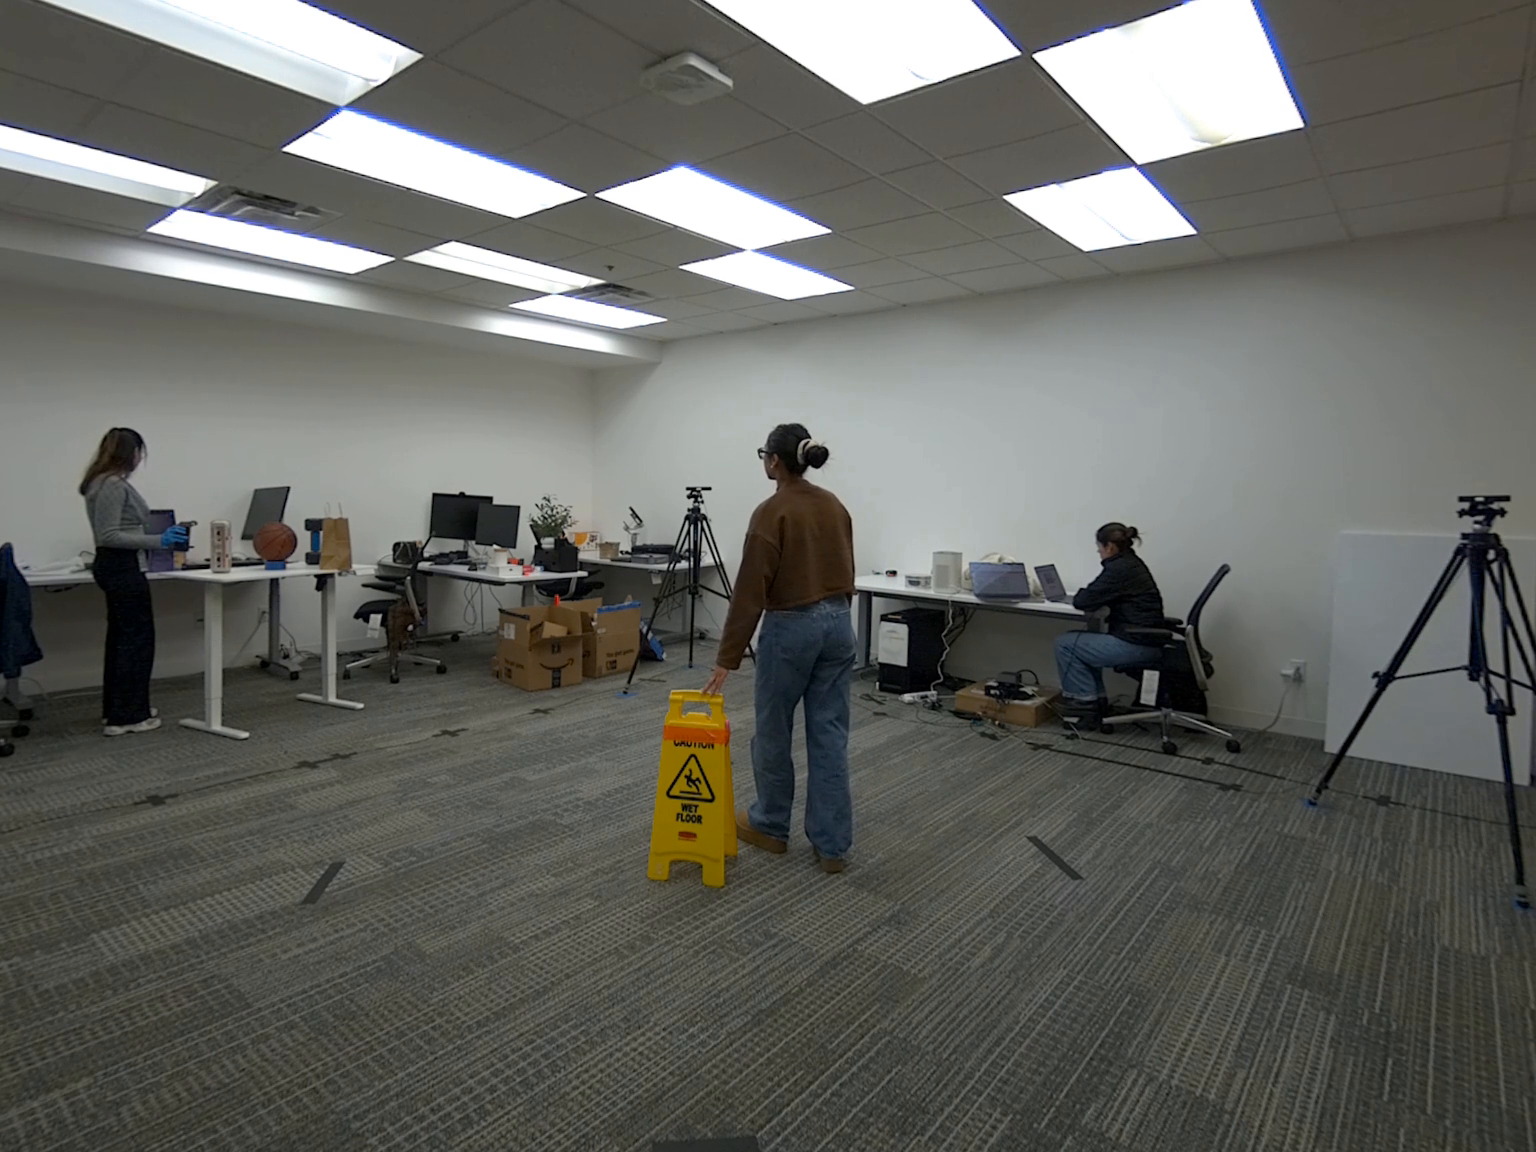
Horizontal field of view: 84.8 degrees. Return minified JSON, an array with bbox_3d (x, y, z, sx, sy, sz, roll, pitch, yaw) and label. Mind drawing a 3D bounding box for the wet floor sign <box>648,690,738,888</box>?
[{"bbox_3d":[-0.273,0.739,3.101,0.285,0.644,0.287,1,4,10],"label":"wet floor sign"}]
